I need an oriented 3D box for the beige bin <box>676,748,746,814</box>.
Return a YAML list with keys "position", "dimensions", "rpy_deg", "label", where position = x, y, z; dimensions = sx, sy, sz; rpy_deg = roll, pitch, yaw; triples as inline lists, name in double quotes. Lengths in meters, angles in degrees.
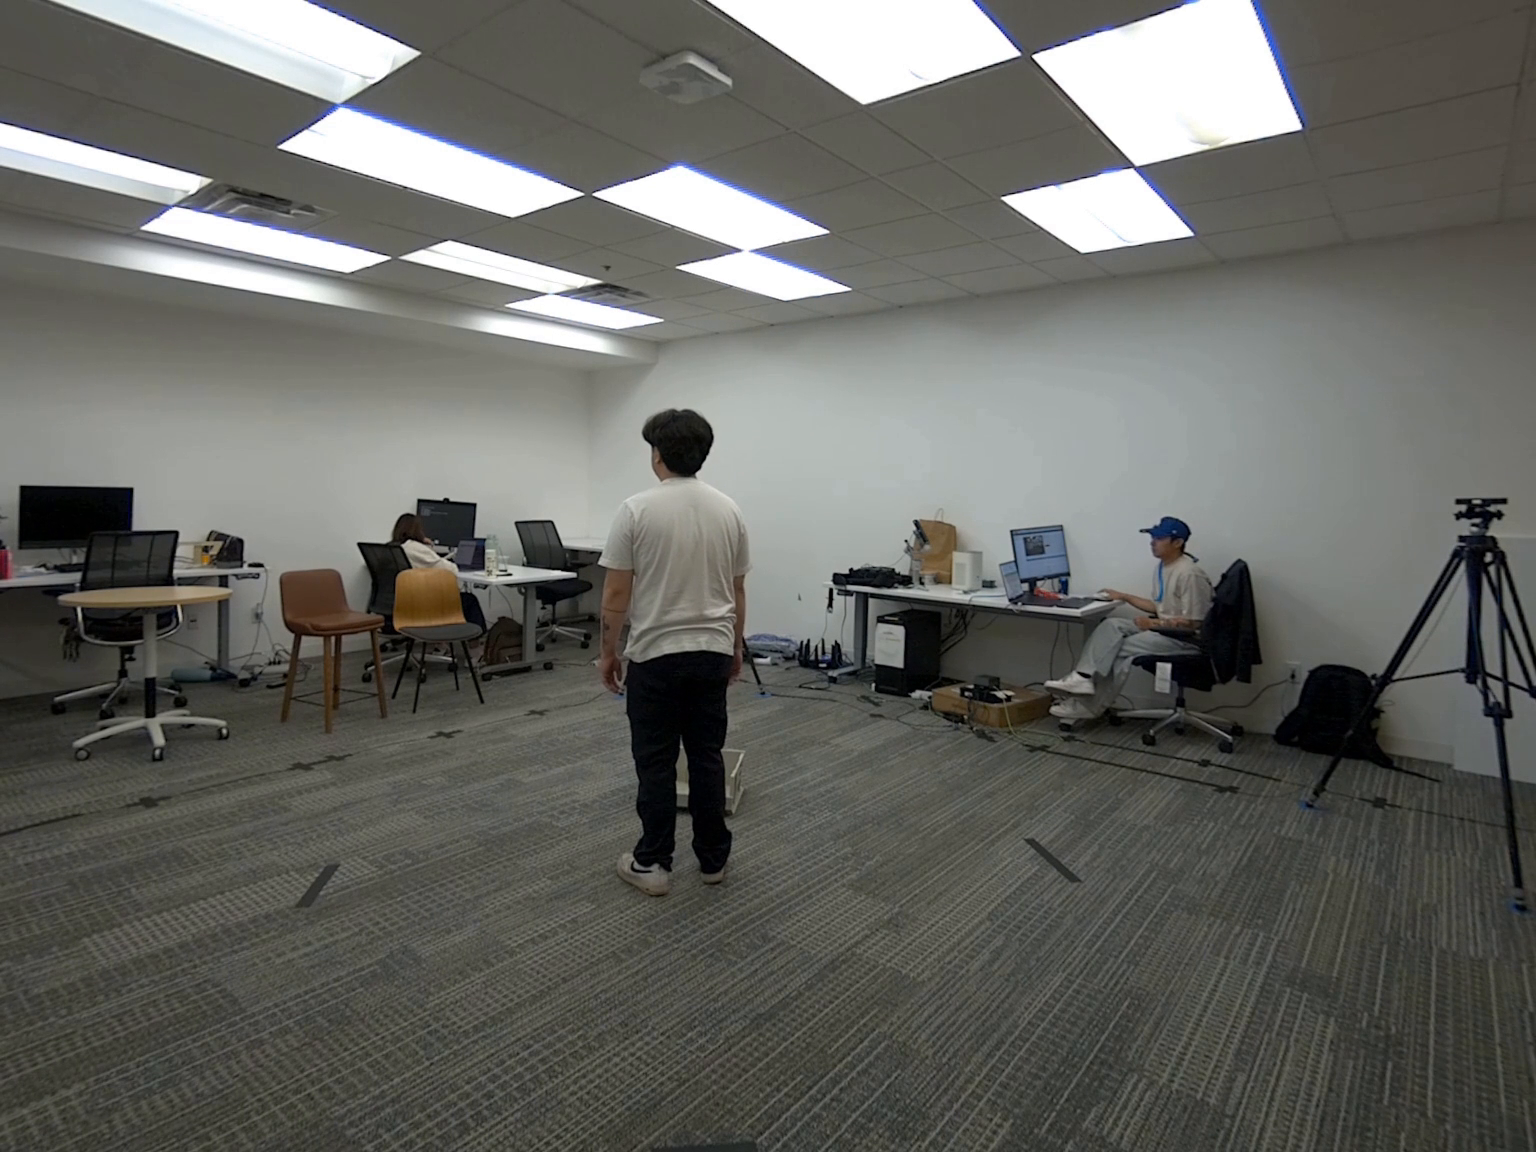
- position: [-0.342, 0.910, 3.814]
  dimensions: [0.426, 0.188, 0.375]
  rpy_deg: [1, 4, 7]
  label: "beige bin"
